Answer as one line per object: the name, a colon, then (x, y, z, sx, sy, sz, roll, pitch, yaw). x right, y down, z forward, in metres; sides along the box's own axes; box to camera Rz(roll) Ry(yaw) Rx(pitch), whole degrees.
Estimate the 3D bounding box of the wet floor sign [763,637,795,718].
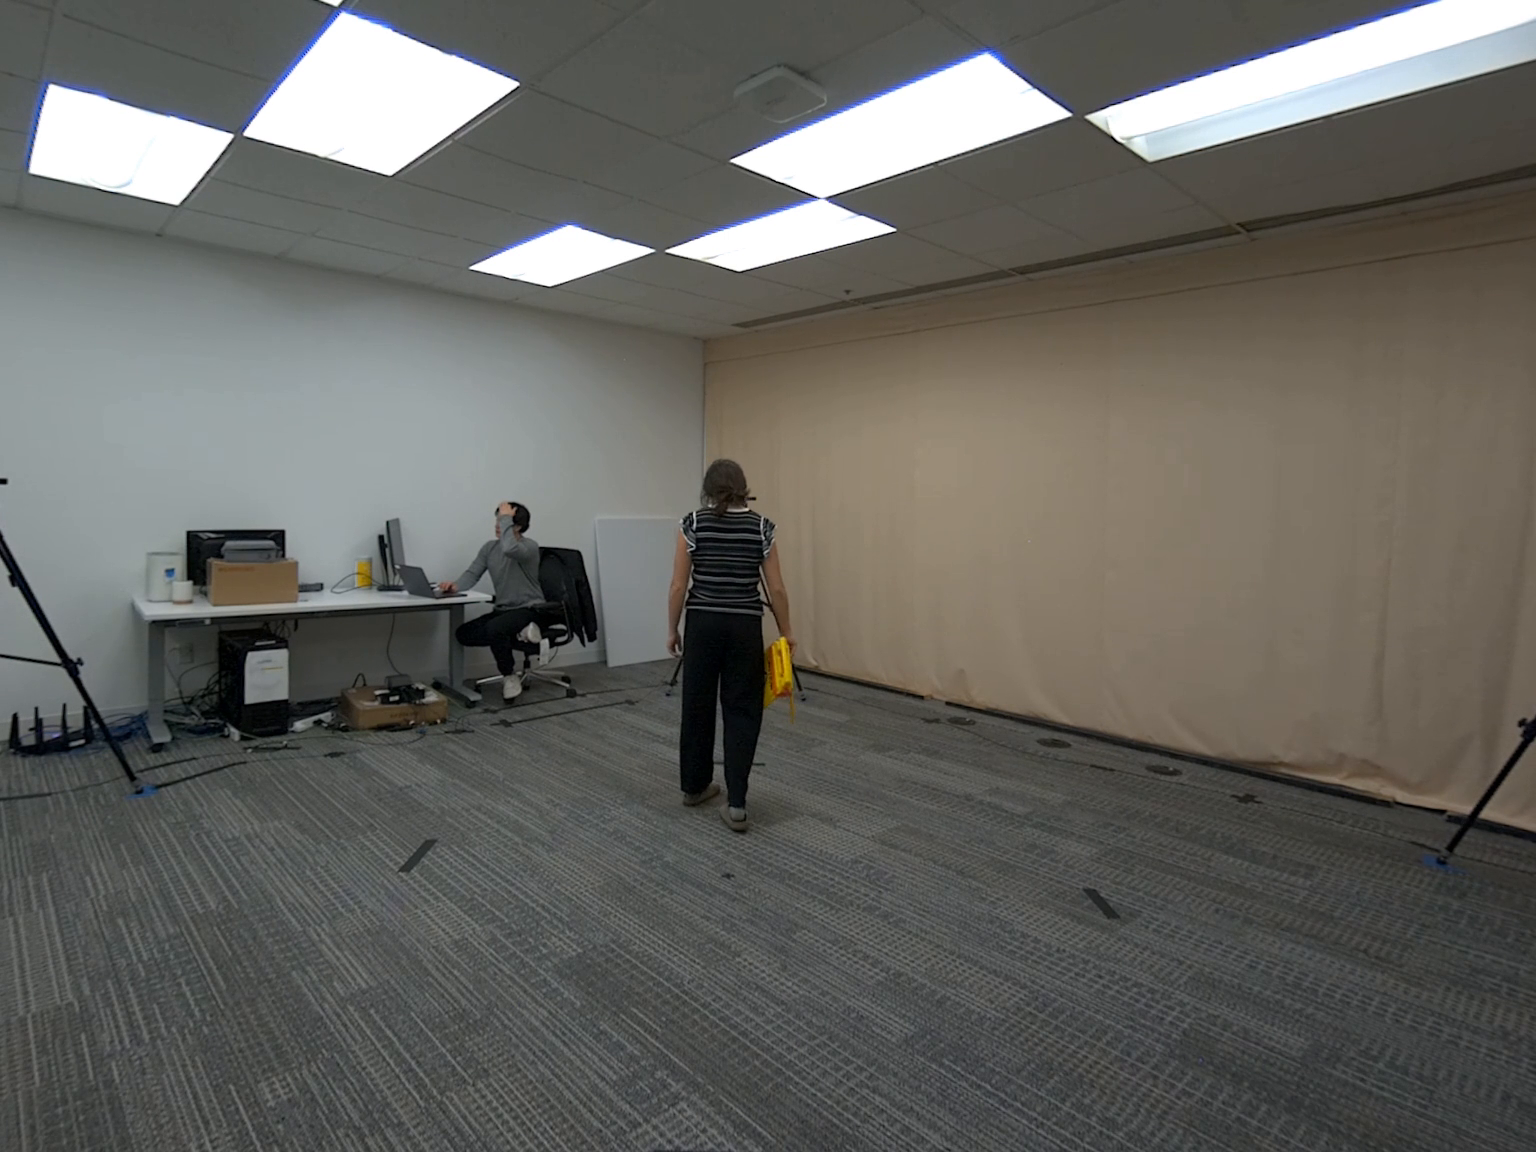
wet floor sign: (0.032, 0.468, 3.781, 0.288, 0.287, 0.638, -1, -23, -8)
